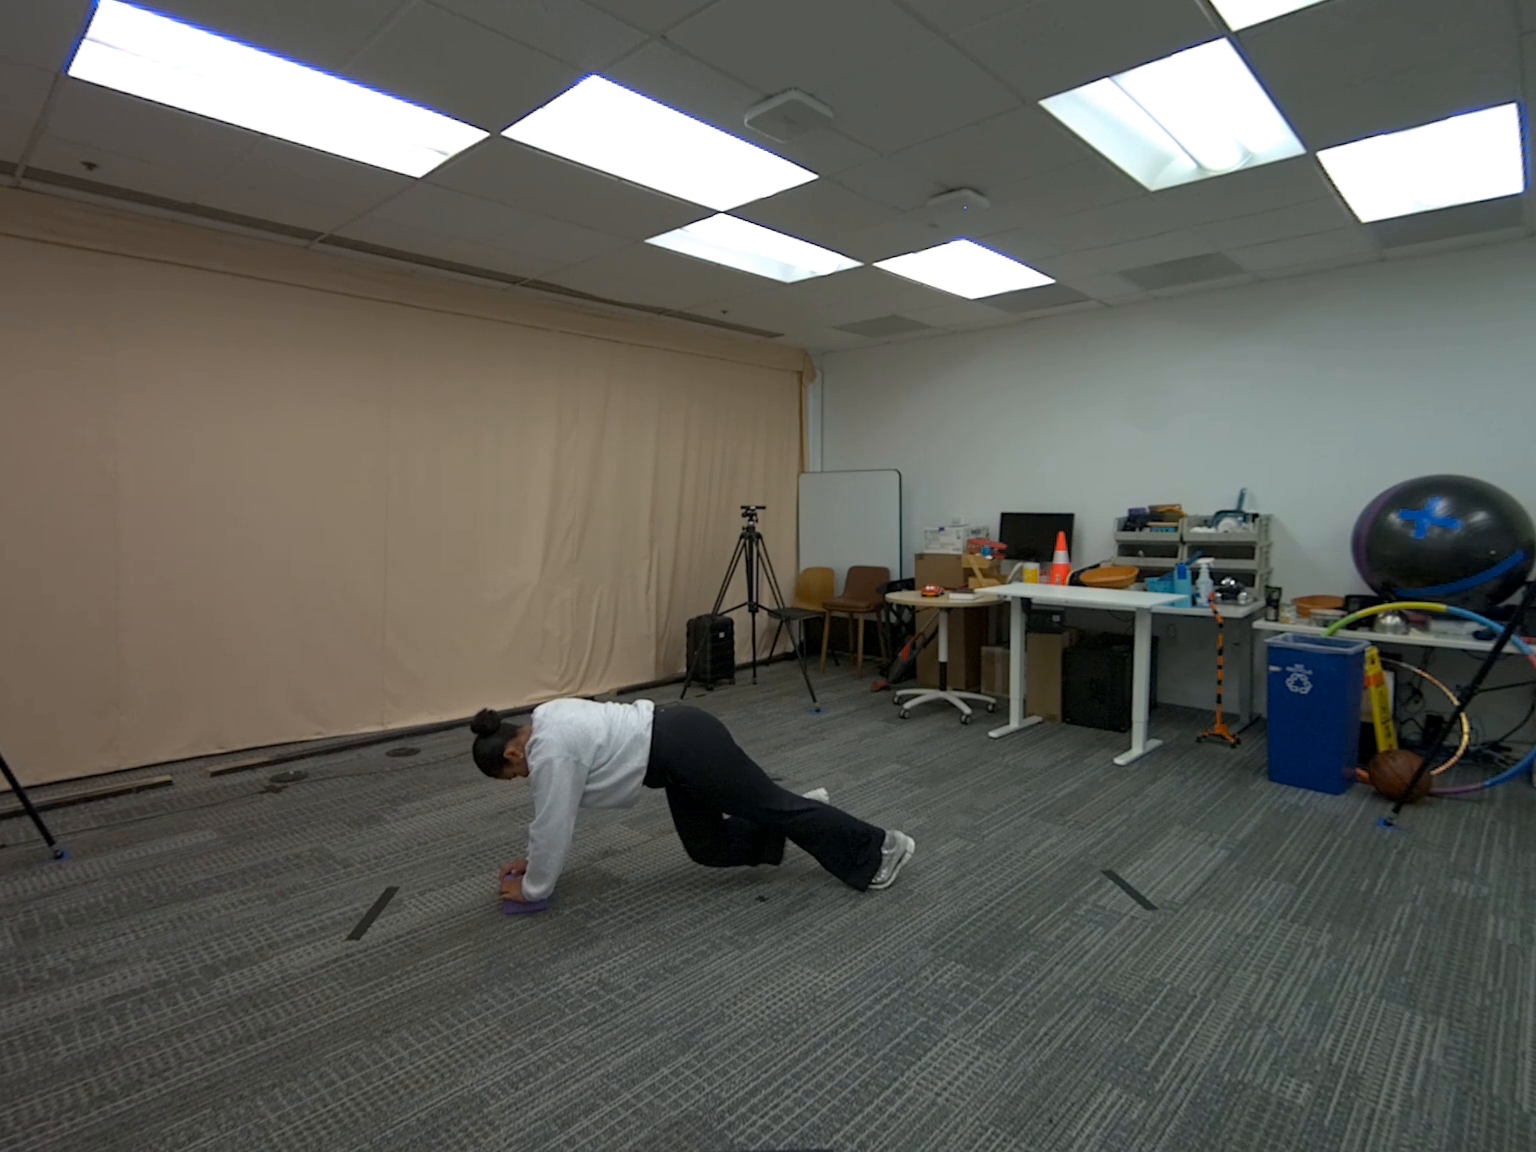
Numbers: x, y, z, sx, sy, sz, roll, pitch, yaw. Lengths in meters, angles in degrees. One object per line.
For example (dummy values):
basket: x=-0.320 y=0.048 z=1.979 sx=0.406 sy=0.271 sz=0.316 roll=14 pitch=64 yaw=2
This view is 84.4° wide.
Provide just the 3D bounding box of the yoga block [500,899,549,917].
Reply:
yoga block: x=-0.869 y=1.124 z=2.998 sx=0.146 sy=0.076 sz=0.233 roll=-1 pitch=4 yaw=-16
